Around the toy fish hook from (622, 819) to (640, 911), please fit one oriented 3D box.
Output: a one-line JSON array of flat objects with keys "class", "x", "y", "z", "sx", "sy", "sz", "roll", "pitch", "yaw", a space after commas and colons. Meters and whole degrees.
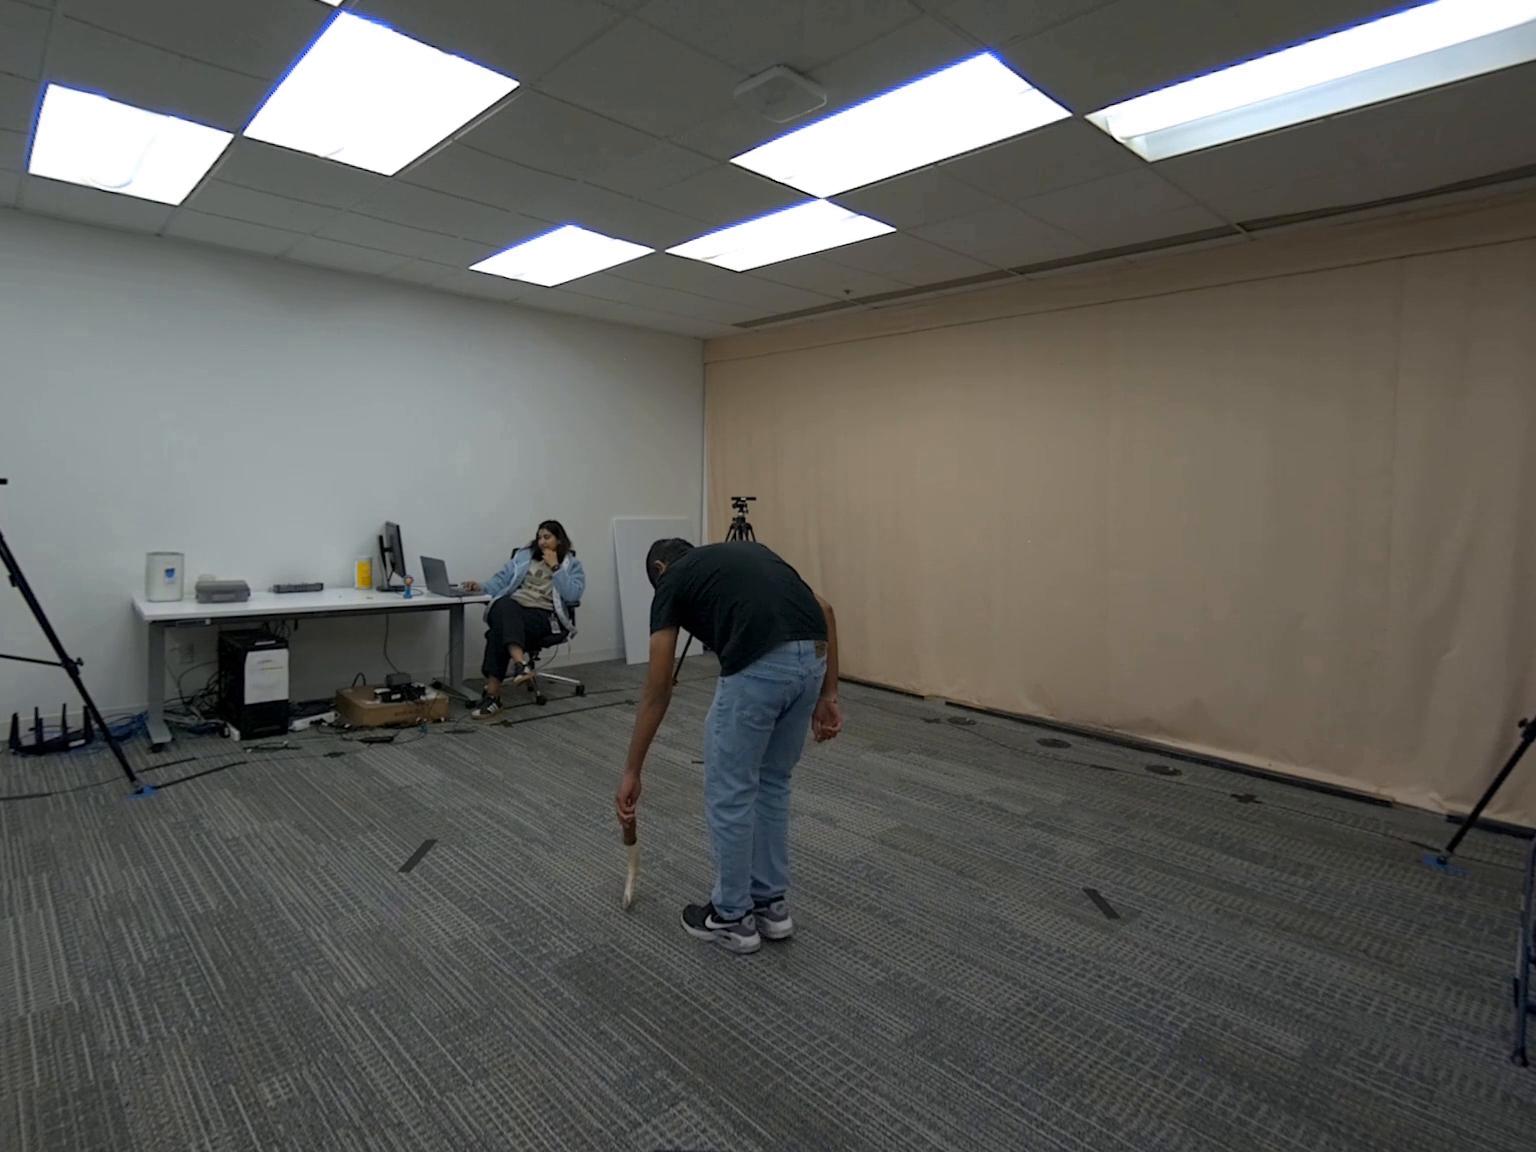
[{"class": "toy fish hook", "x": -0.459, "y": 0.927, "z": 2.733, "sx": 0.048, "sy": 0.496, "sz": 0.230, "roll": 1, "pitch": 47, "yaw": -4}]
